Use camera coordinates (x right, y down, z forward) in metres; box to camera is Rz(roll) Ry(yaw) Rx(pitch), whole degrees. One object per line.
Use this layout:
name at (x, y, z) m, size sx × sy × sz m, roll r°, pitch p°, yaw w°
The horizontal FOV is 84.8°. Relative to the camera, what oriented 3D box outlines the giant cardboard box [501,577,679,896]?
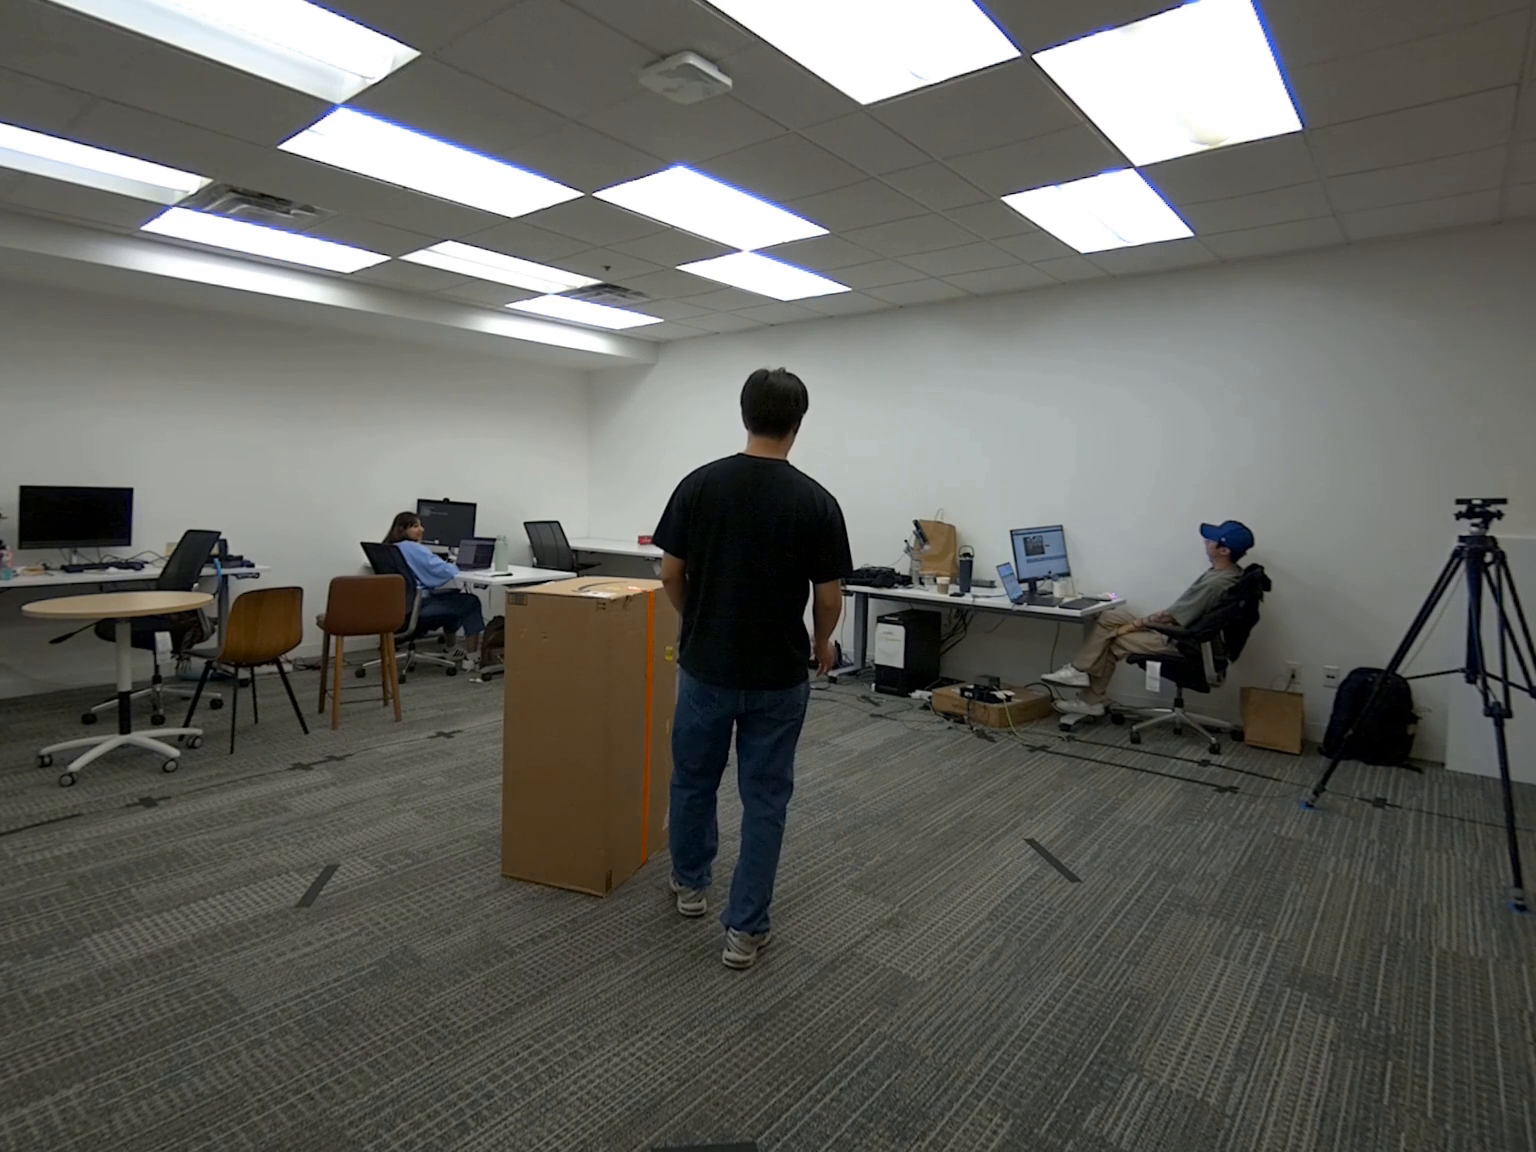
giant cardboard box at (-0.663, 0.541, 3.193) m, size 0.457 × 1.024 × 0.573 m, roll 3°, pitch 4°, yaw 20°
